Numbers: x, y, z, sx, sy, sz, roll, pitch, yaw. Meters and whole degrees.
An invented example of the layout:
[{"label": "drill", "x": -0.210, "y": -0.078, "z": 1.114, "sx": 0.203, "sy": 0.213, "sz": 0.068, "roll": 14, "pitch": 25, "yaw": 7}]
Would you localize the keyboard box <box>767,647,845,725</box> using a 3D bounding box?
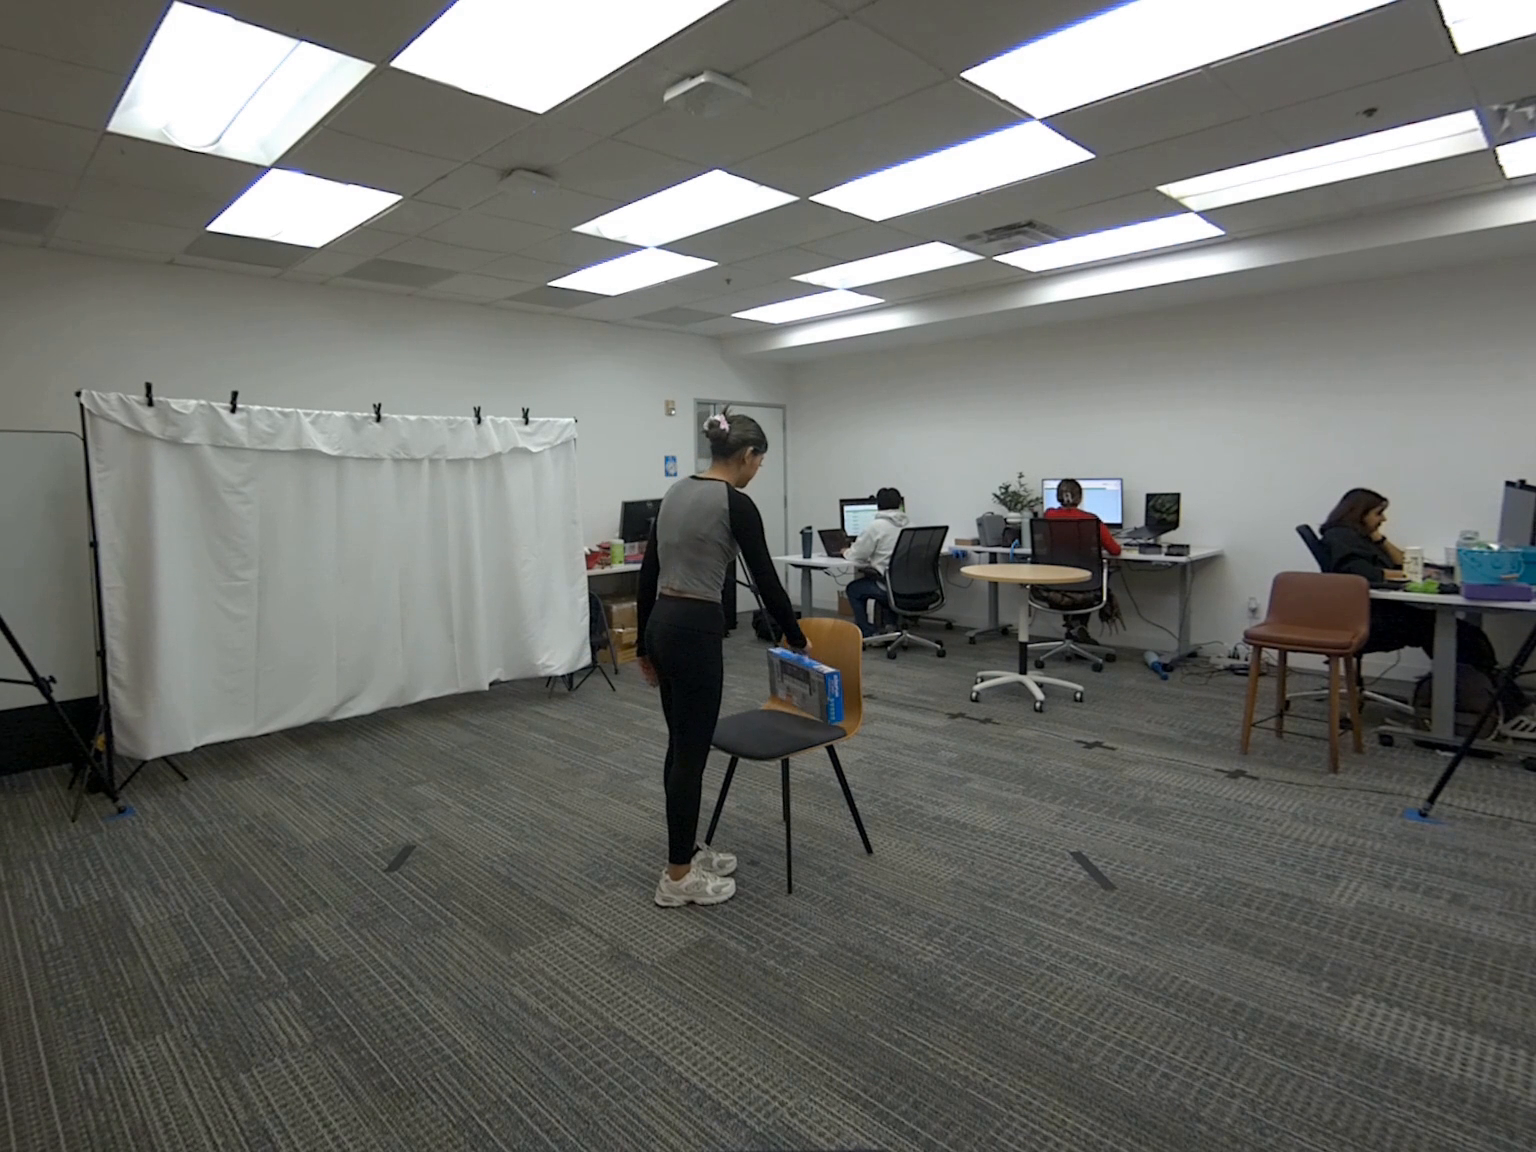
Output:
[{"label": "keyboard box", "x": 0.125, "y": 0.379, "z": 2.993, "sx": 0.058, "sy": 0.175, "sz": 0.447, "roll": -7, "pitch": 8, "yaw": -24}]
